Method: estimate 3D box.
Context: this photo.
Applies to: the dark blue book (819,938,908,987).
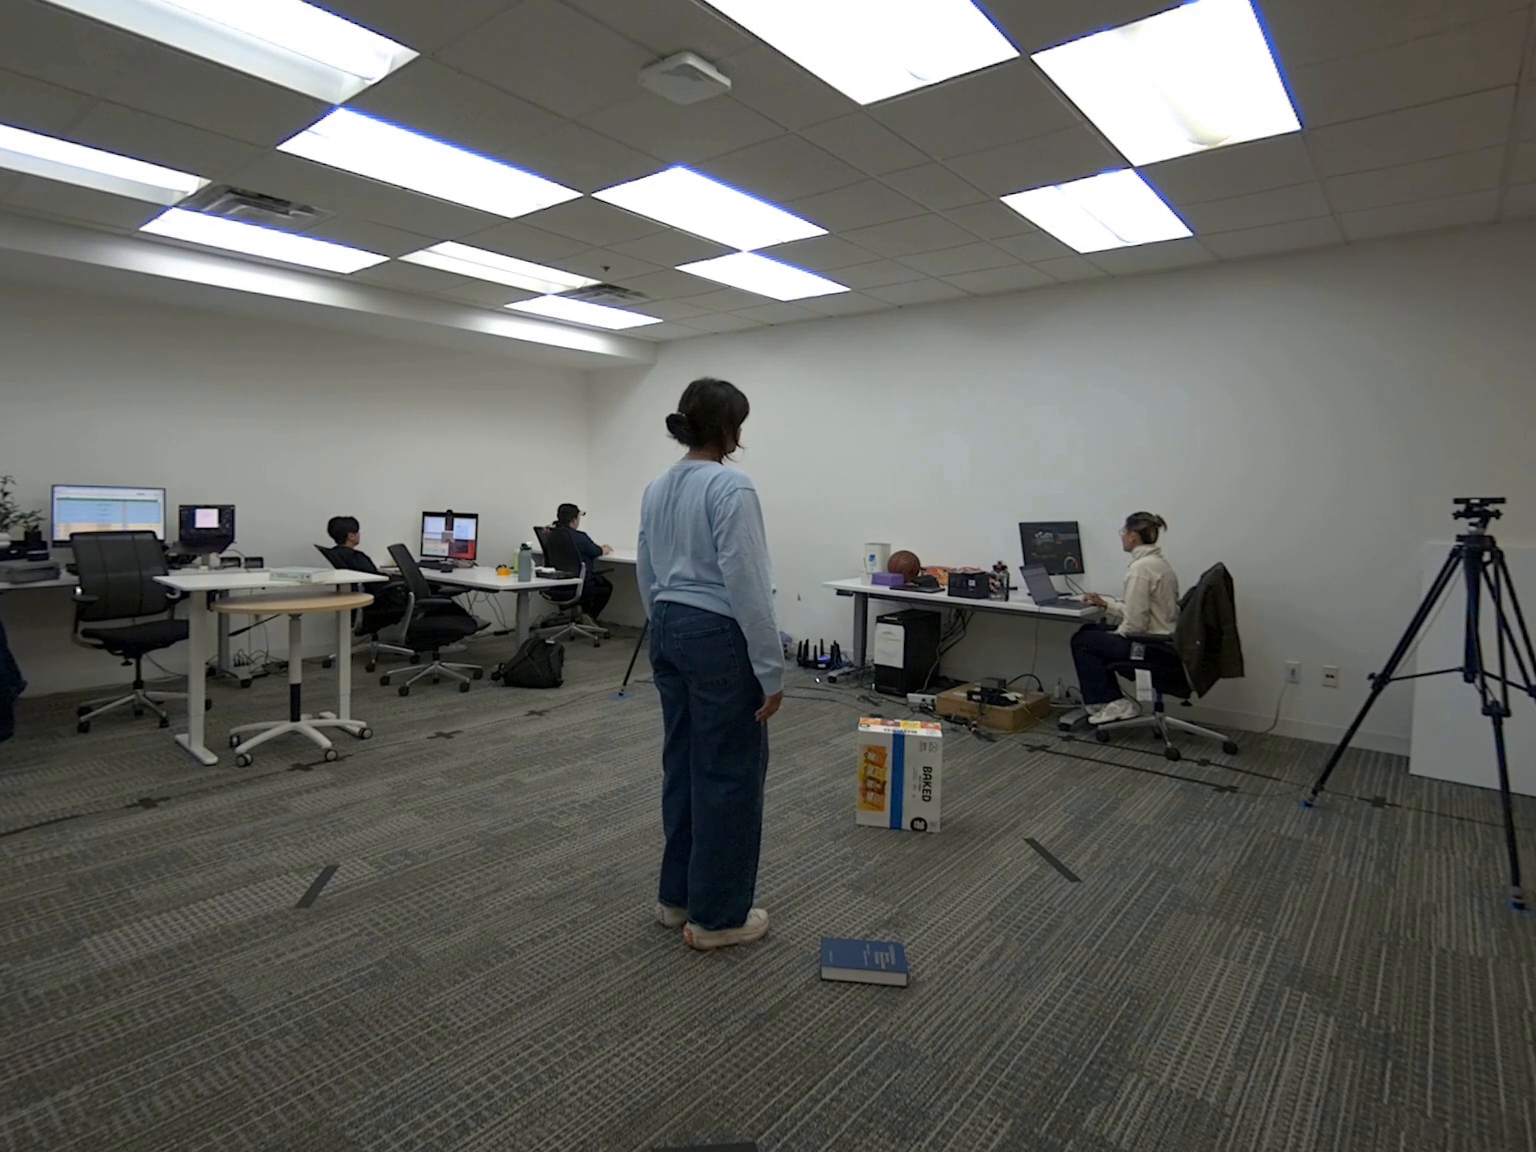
[{"bbox_3d":[0.274,1.118,2.480,0.247,0.045,0.163,2,6,5],"label":"dark blue book"}]
